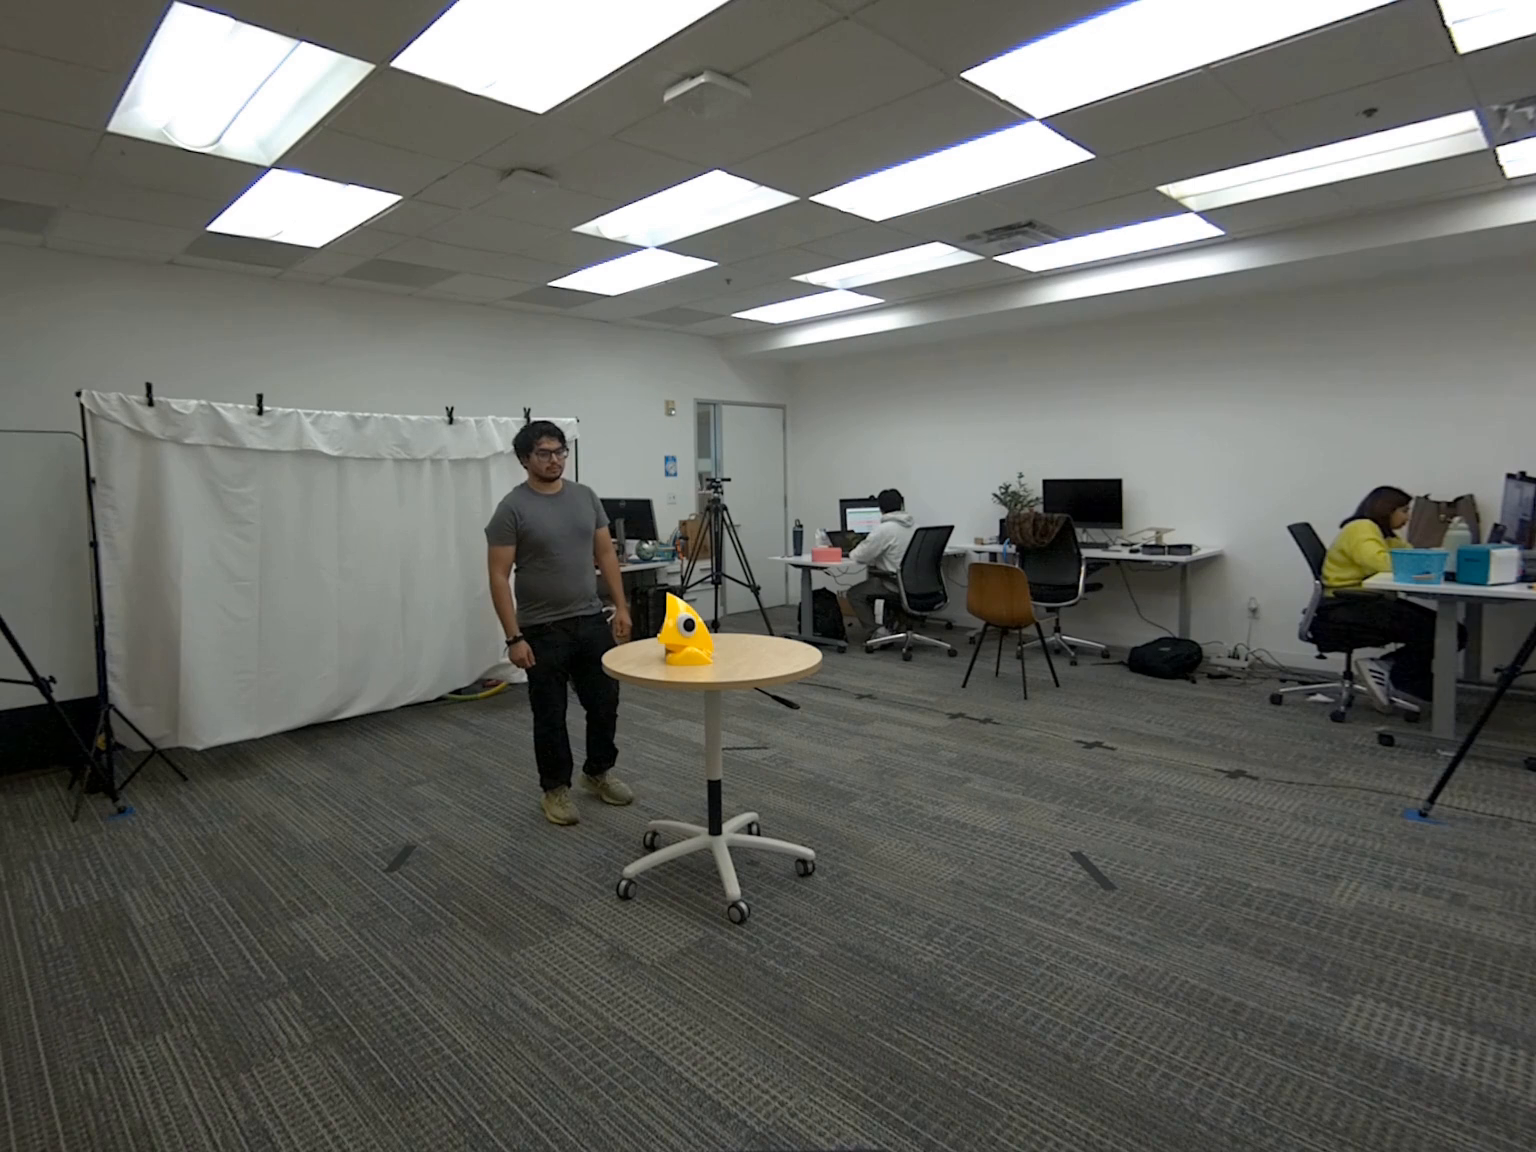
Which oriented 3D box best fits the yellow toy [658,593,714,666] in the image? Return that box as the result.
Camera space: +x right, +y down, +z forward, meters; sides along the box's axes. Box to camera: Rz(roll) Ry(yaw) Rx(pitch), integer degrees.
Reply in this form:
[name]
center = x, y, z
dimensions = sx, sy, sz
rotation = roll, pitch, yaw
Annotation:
[yellow toy]
center = -0.280, 0.171, 2.915
dimensions = 0.192, 0.230, 0.206
rotation = -1, 5, -3
